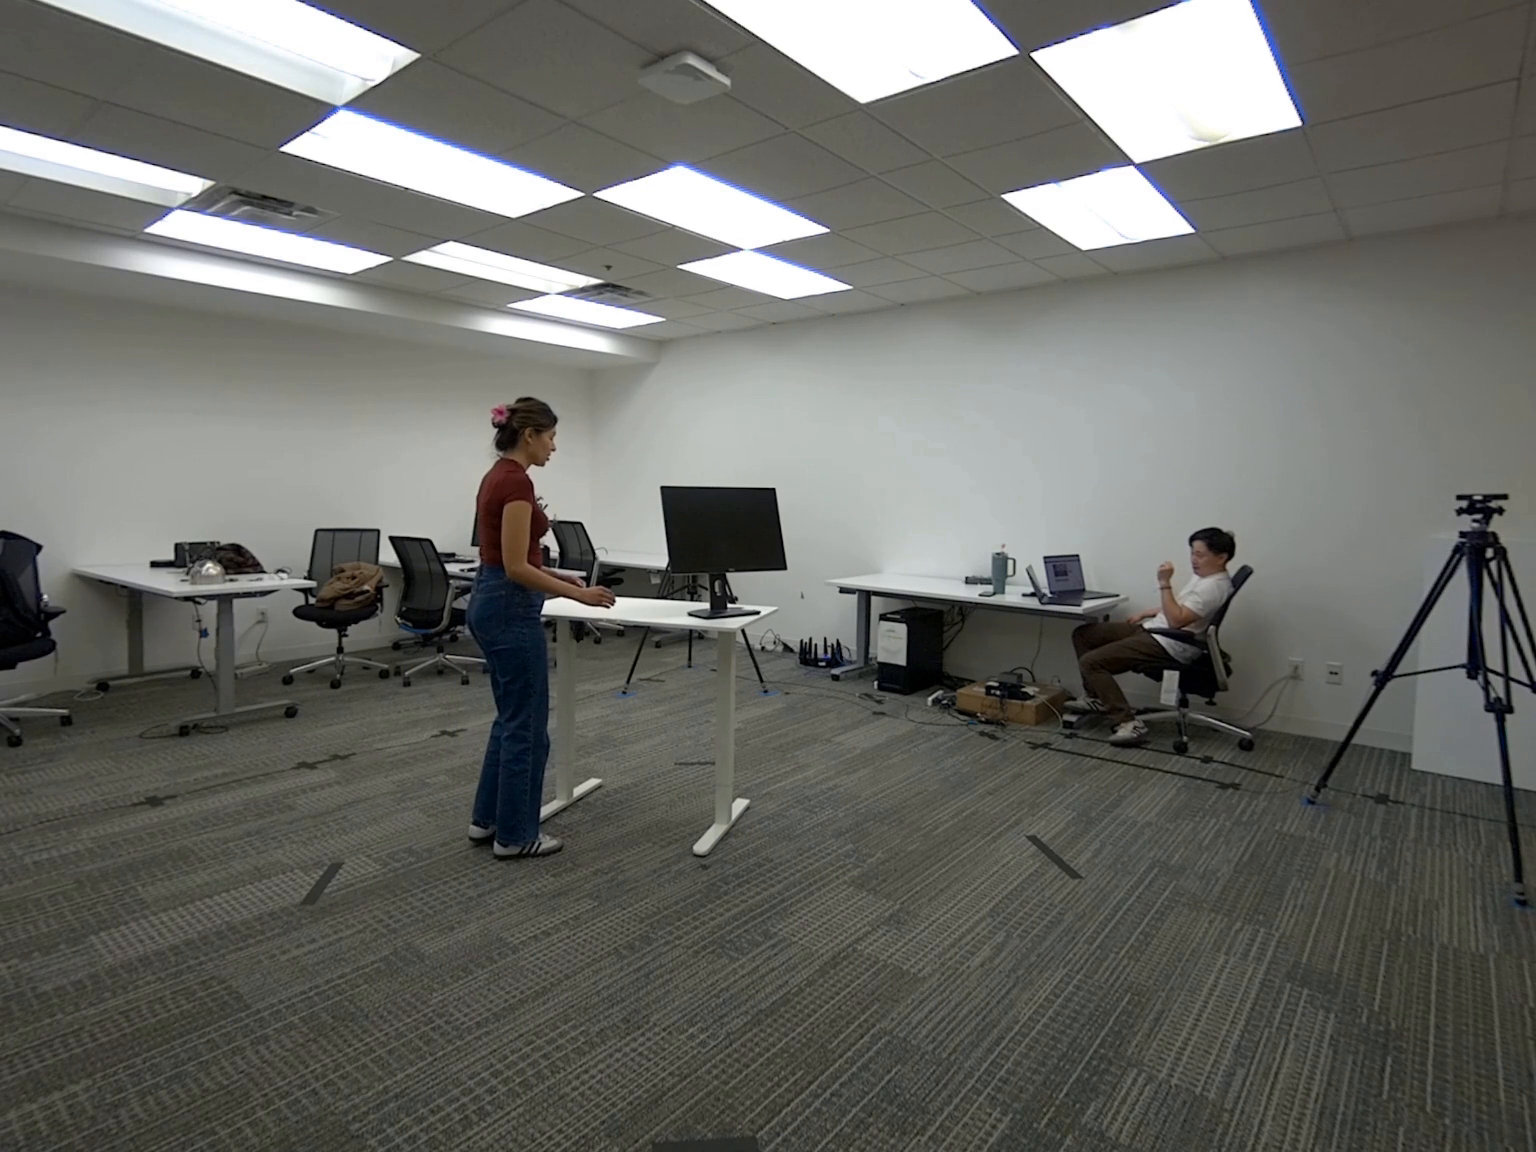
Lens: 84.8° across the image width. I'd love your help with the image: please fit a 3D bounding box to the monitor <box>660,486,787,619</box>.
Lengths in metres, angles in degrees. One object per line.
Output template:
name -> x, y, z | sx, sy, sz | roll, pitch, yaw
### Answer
monitor -> -0.197, -0.099, 3.424 | 0.524, 0.522, 0.192 | -2, 1, -32
